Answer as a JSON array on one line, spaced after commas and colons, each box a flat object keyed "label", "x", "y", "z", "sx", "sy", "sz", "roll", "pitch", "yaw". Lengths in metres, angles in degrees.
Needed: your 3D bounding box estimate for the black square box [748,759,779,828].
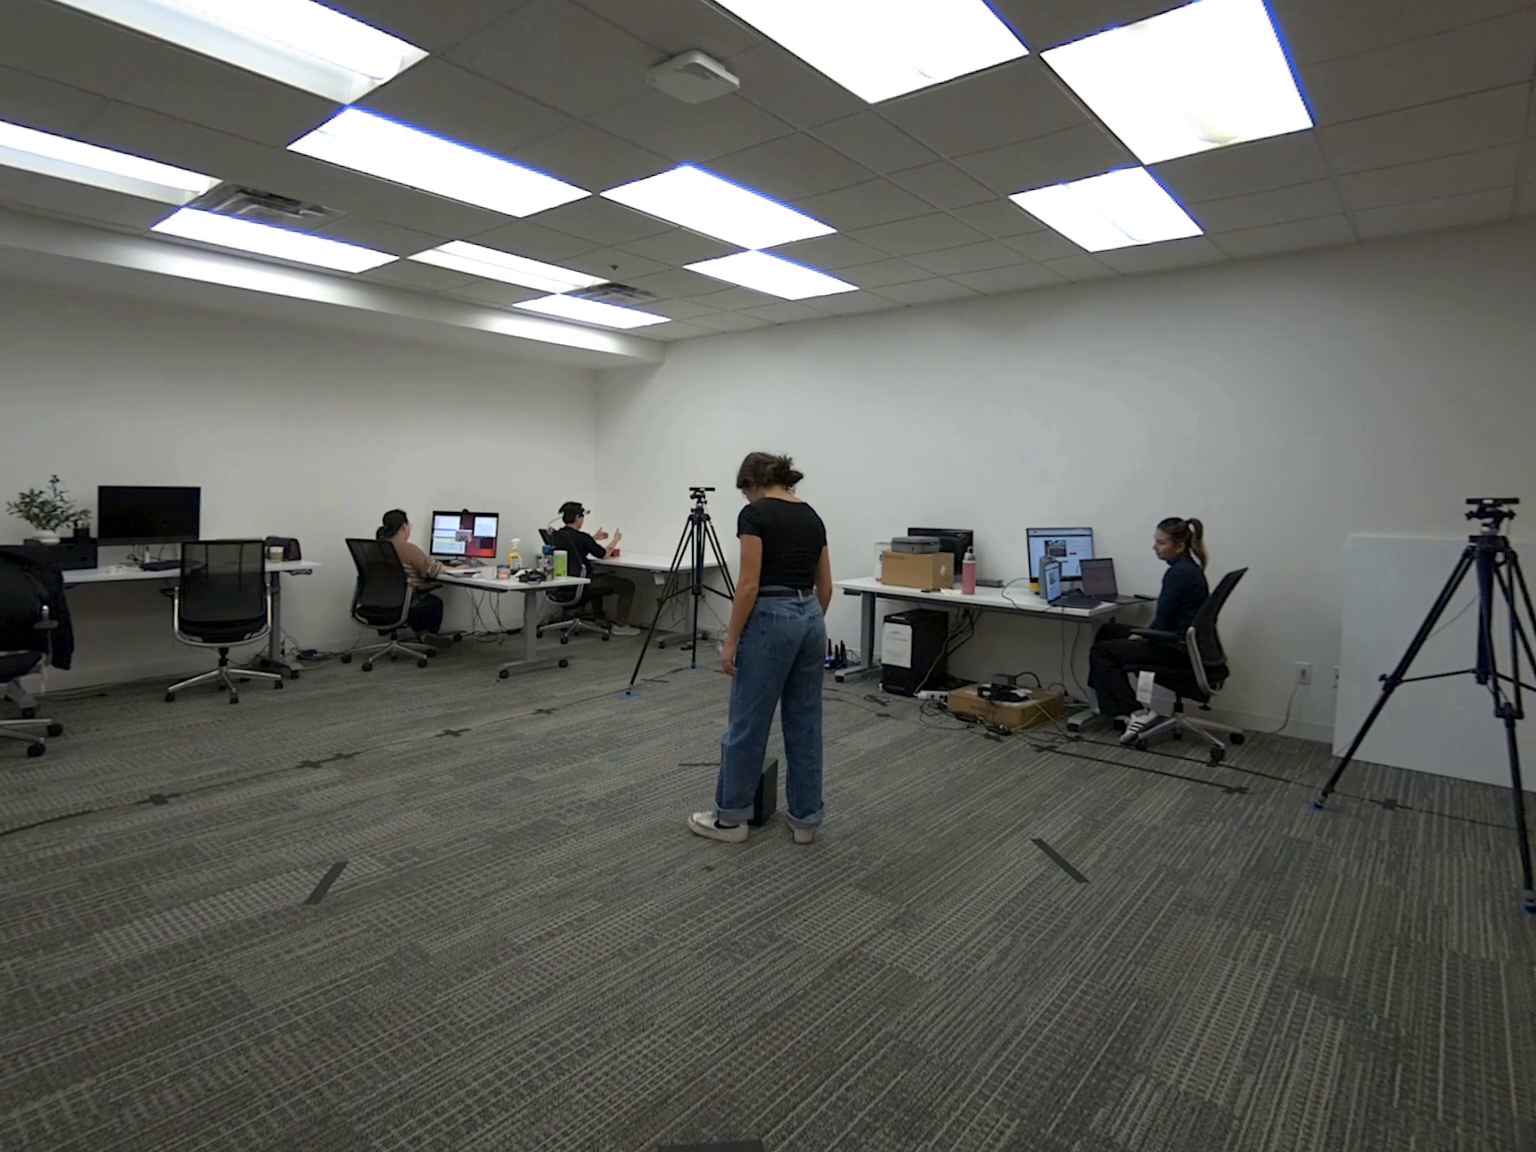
[{"label": "black square box", "x": -0.070, "y": 0.896, "z": 3.622, "sx": 0.159, "sy": 0.227, "sz": 0.213, "roll": 3, "pitch": 4, "yaw": 19}]
